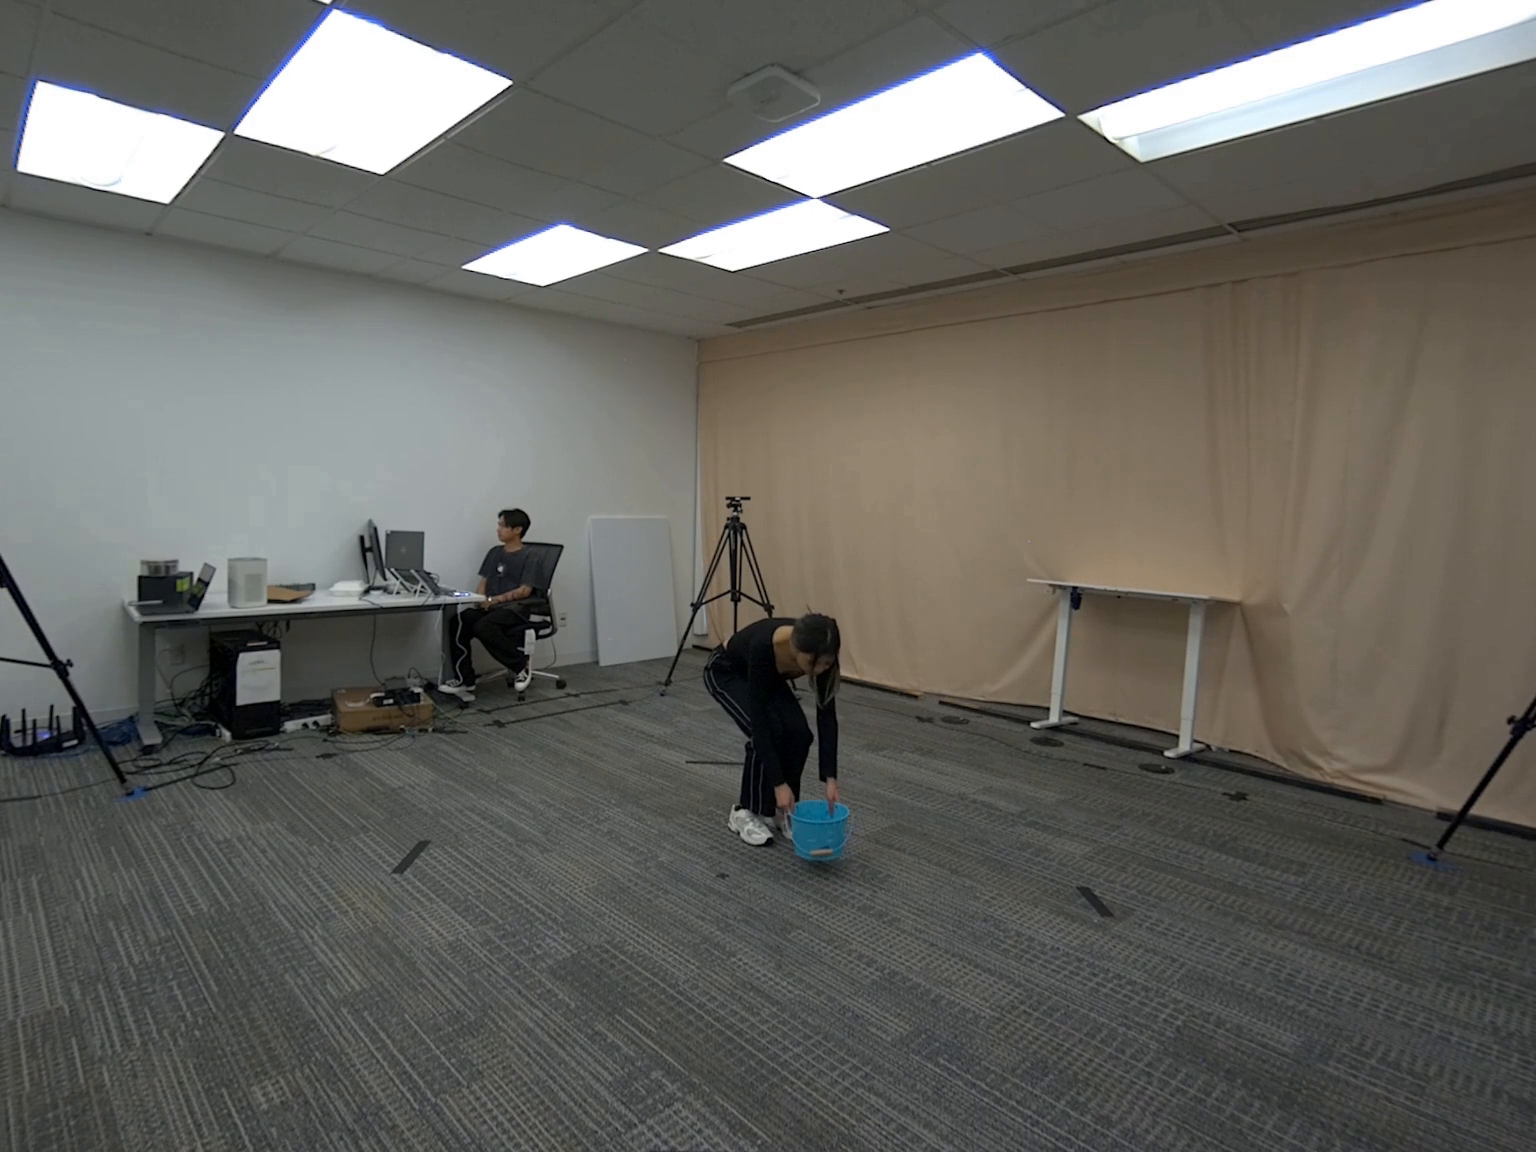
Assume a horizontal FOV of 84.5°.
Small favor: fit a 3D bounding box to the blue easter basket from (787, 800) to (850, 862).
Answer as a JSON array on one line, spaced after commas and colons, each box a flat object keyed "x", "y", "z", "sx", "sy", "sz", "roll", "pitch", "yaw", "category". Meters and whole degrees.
[{"x": 0.179, "y": 0.948, "z": 3.162, "sx": 0.243, "sy": 0.155, "sz": 0.244, "roll": 0, "pitch": 5, "yaw": -1, "category": "blue easter basket"}]
